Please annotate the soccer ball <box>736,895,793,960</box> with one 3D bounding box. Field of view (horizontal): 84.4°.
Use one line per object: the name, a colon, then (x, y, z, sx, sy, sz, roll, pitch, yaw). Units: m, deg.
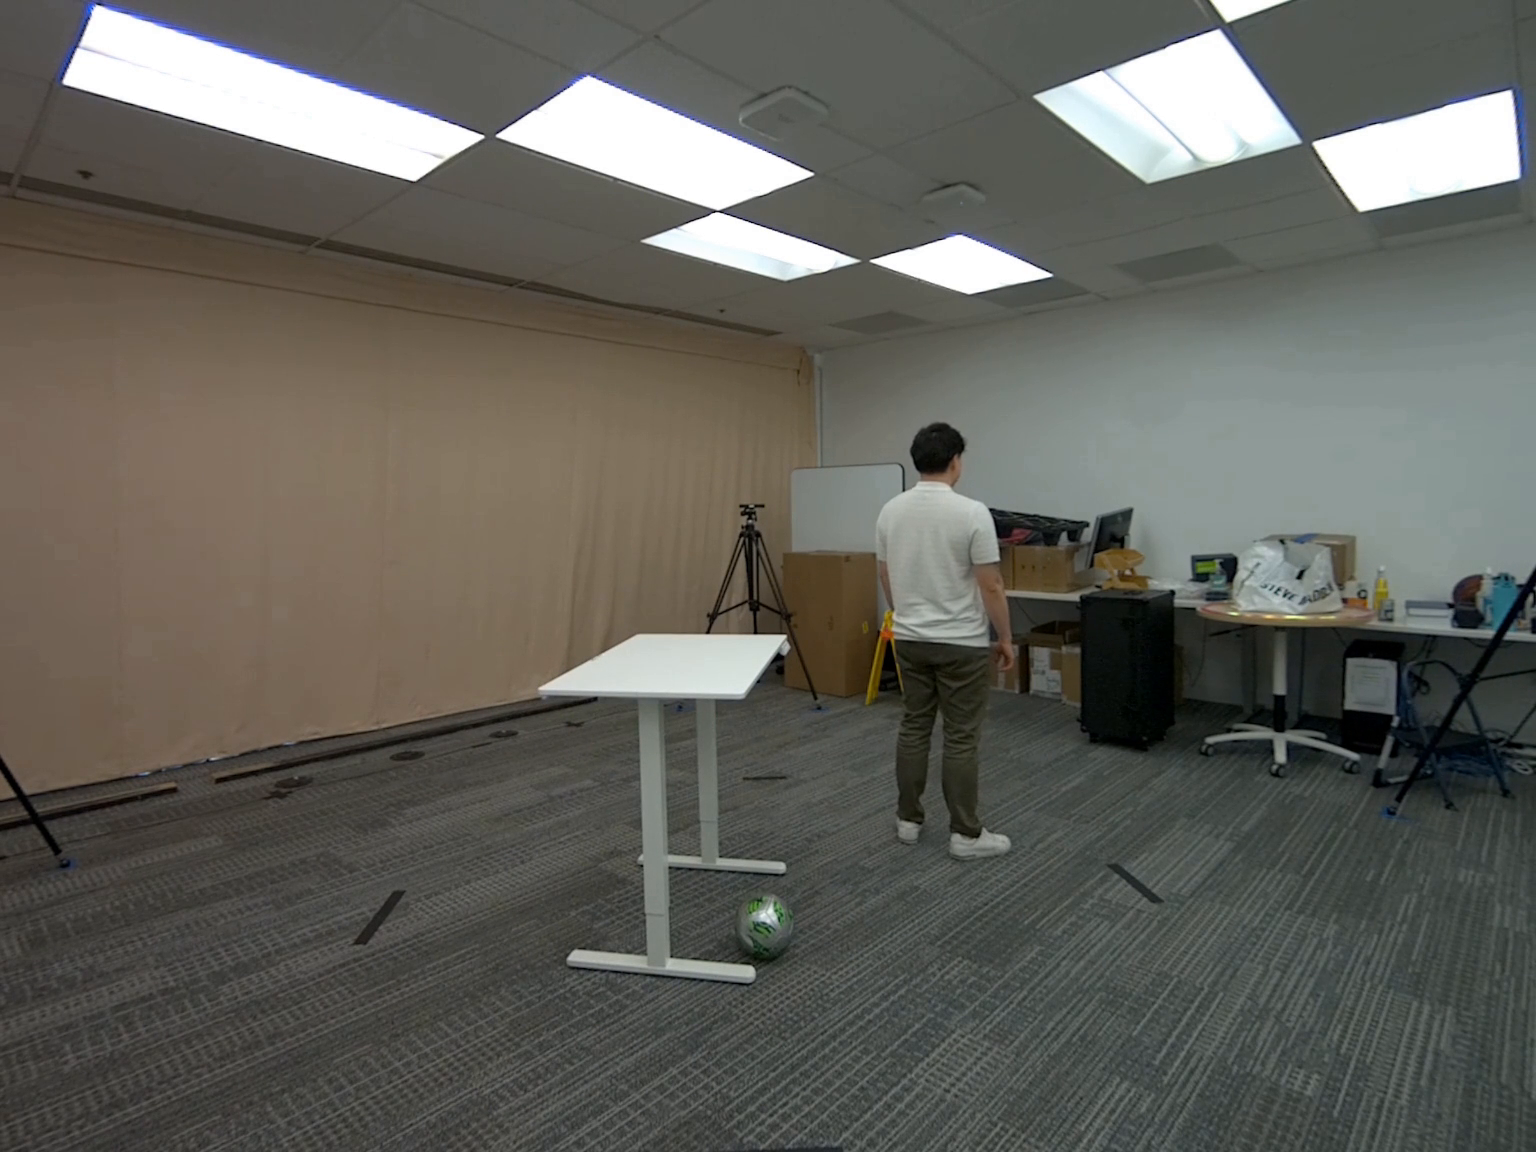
soccer ball: (-0.005, 1.076, 2.600, 0.187, 0.187, 0.188, -1, 4, -2)
